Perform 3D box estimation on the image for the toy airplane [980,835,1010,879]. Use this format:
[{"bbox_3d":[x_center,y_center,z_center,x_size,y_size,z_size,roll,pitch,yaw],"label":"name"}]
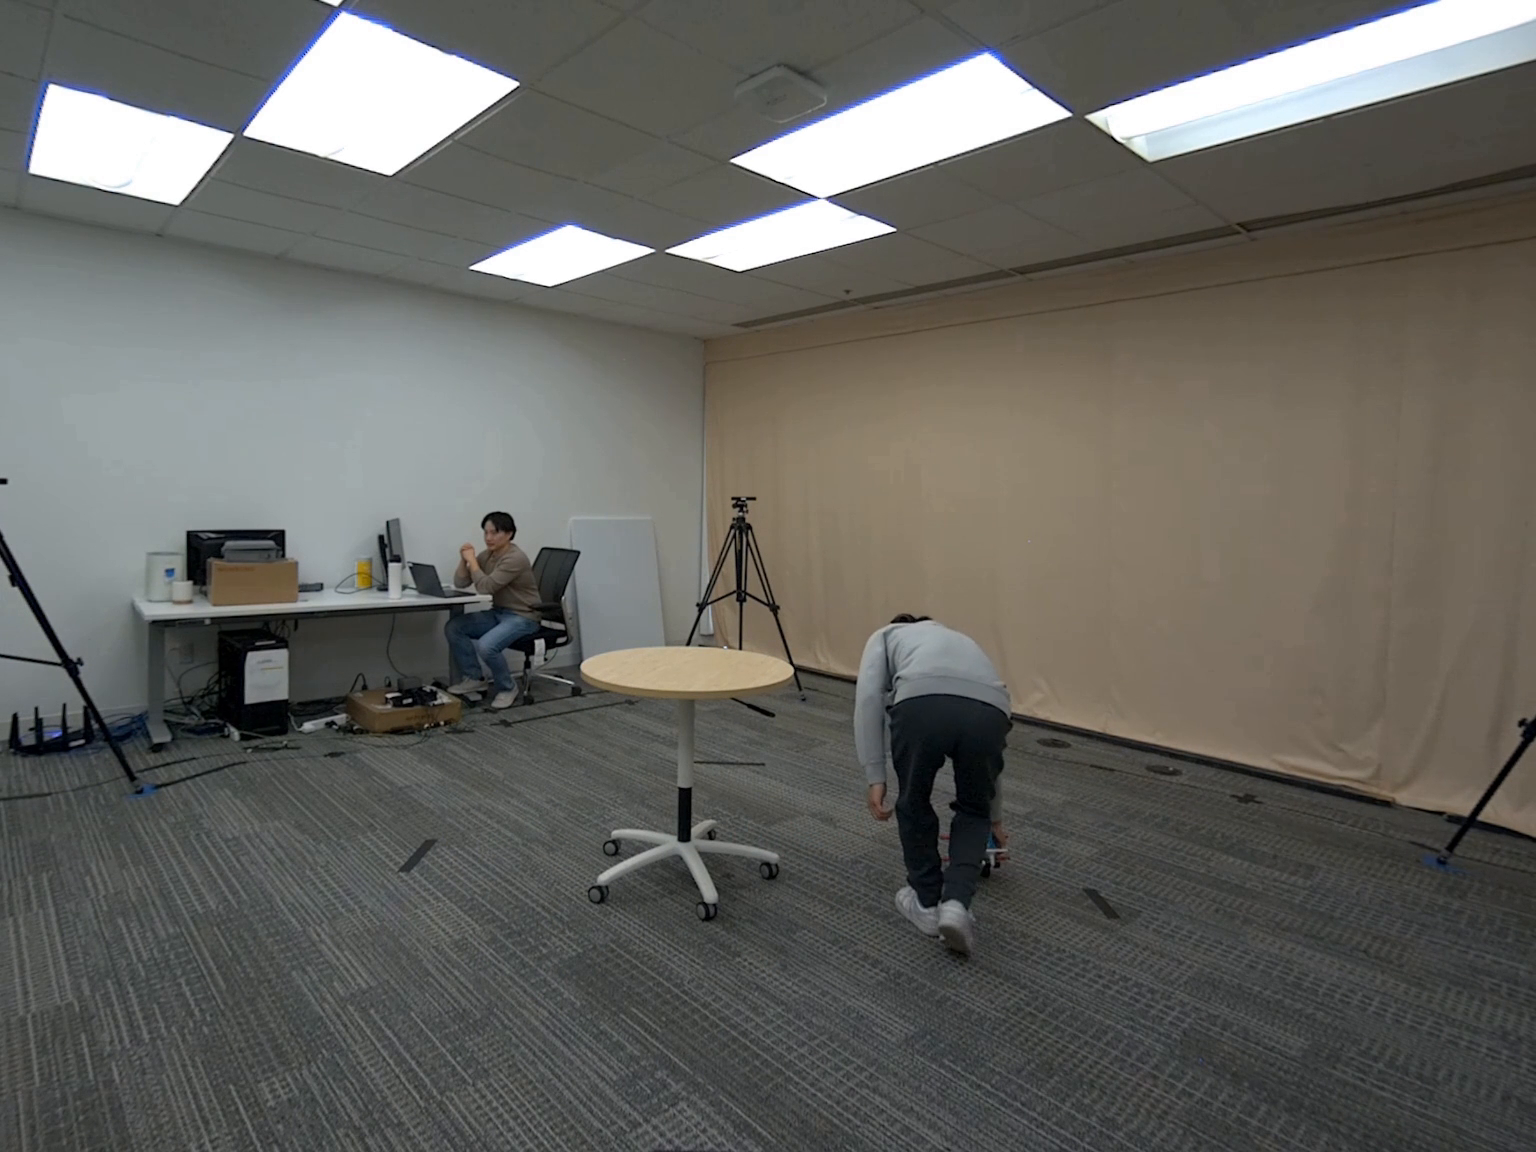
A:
[{"bbox_3d":[0.798,1.022,3.108,0.244,0.160,0.261,17,-36,-33],"label":"toy airplane"}]
